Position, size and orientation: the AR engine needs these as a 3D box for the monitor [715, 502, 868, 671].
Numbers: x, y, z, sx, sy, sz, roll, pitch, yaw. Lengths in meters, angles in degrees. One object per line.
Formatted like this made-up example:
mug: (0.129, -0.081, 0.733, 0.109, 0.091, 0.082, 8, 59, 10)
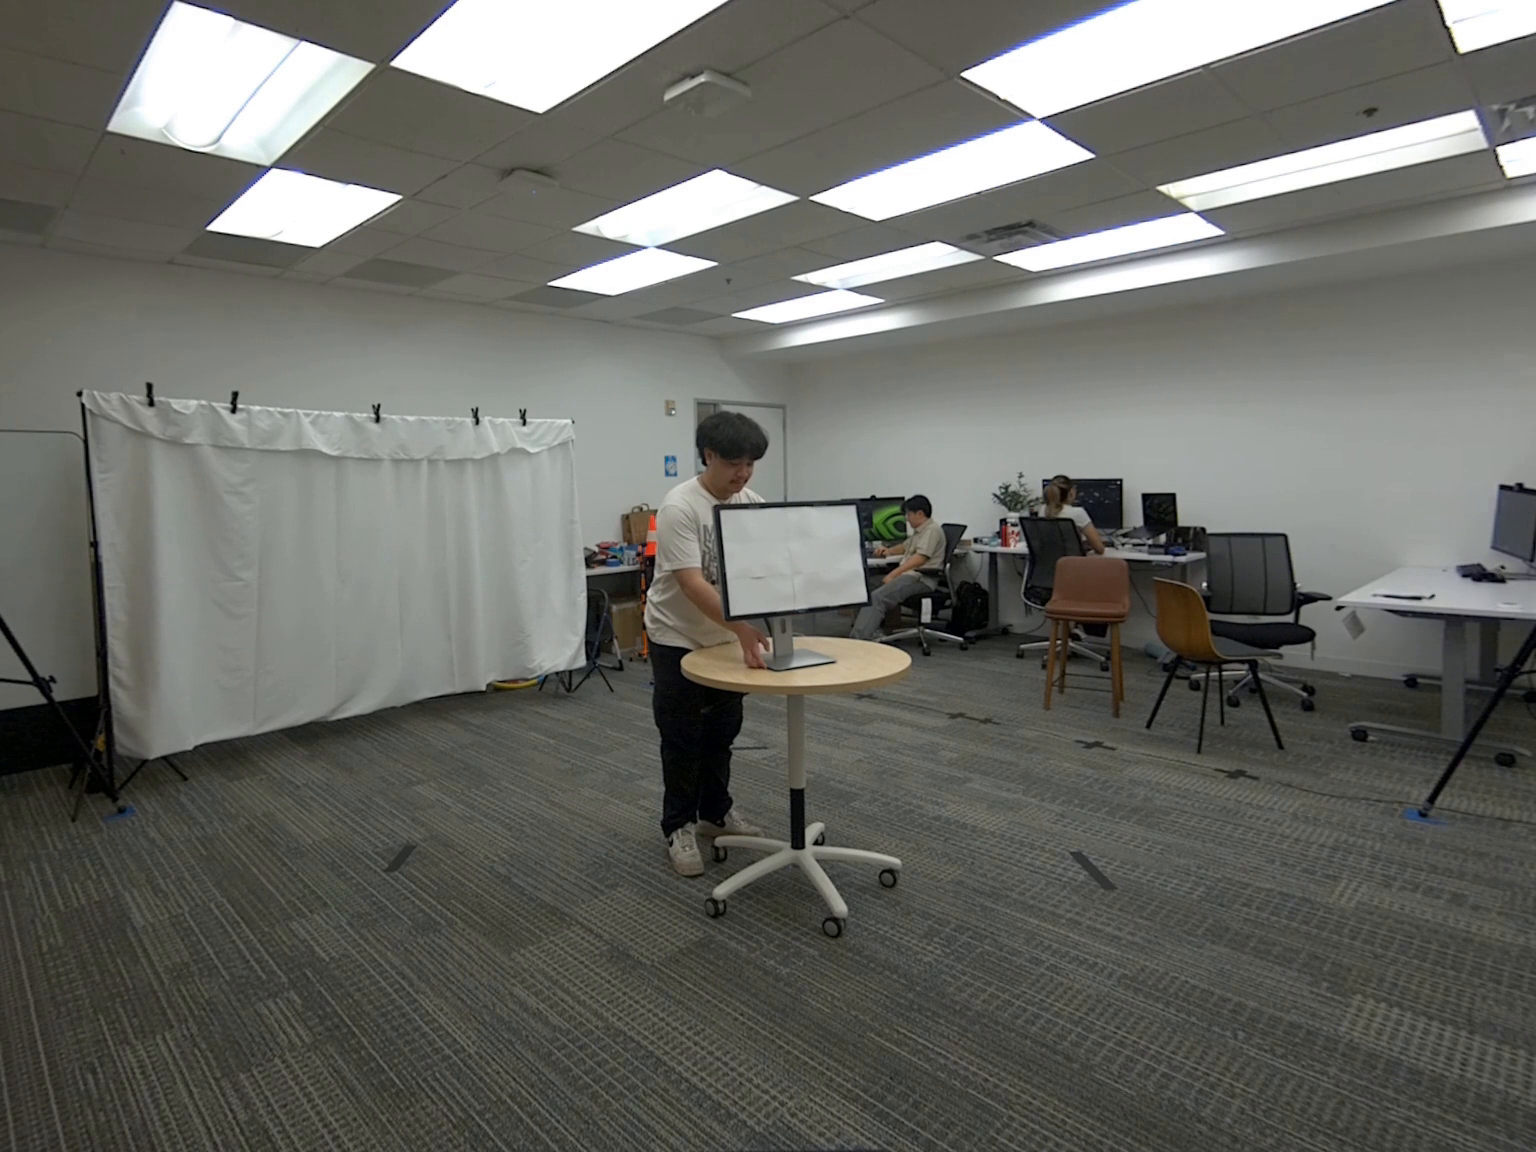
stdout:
monitor: (0.058, 0.028, 2.823, 0.552, 0.554, 0.215, -4, 1, -30)
